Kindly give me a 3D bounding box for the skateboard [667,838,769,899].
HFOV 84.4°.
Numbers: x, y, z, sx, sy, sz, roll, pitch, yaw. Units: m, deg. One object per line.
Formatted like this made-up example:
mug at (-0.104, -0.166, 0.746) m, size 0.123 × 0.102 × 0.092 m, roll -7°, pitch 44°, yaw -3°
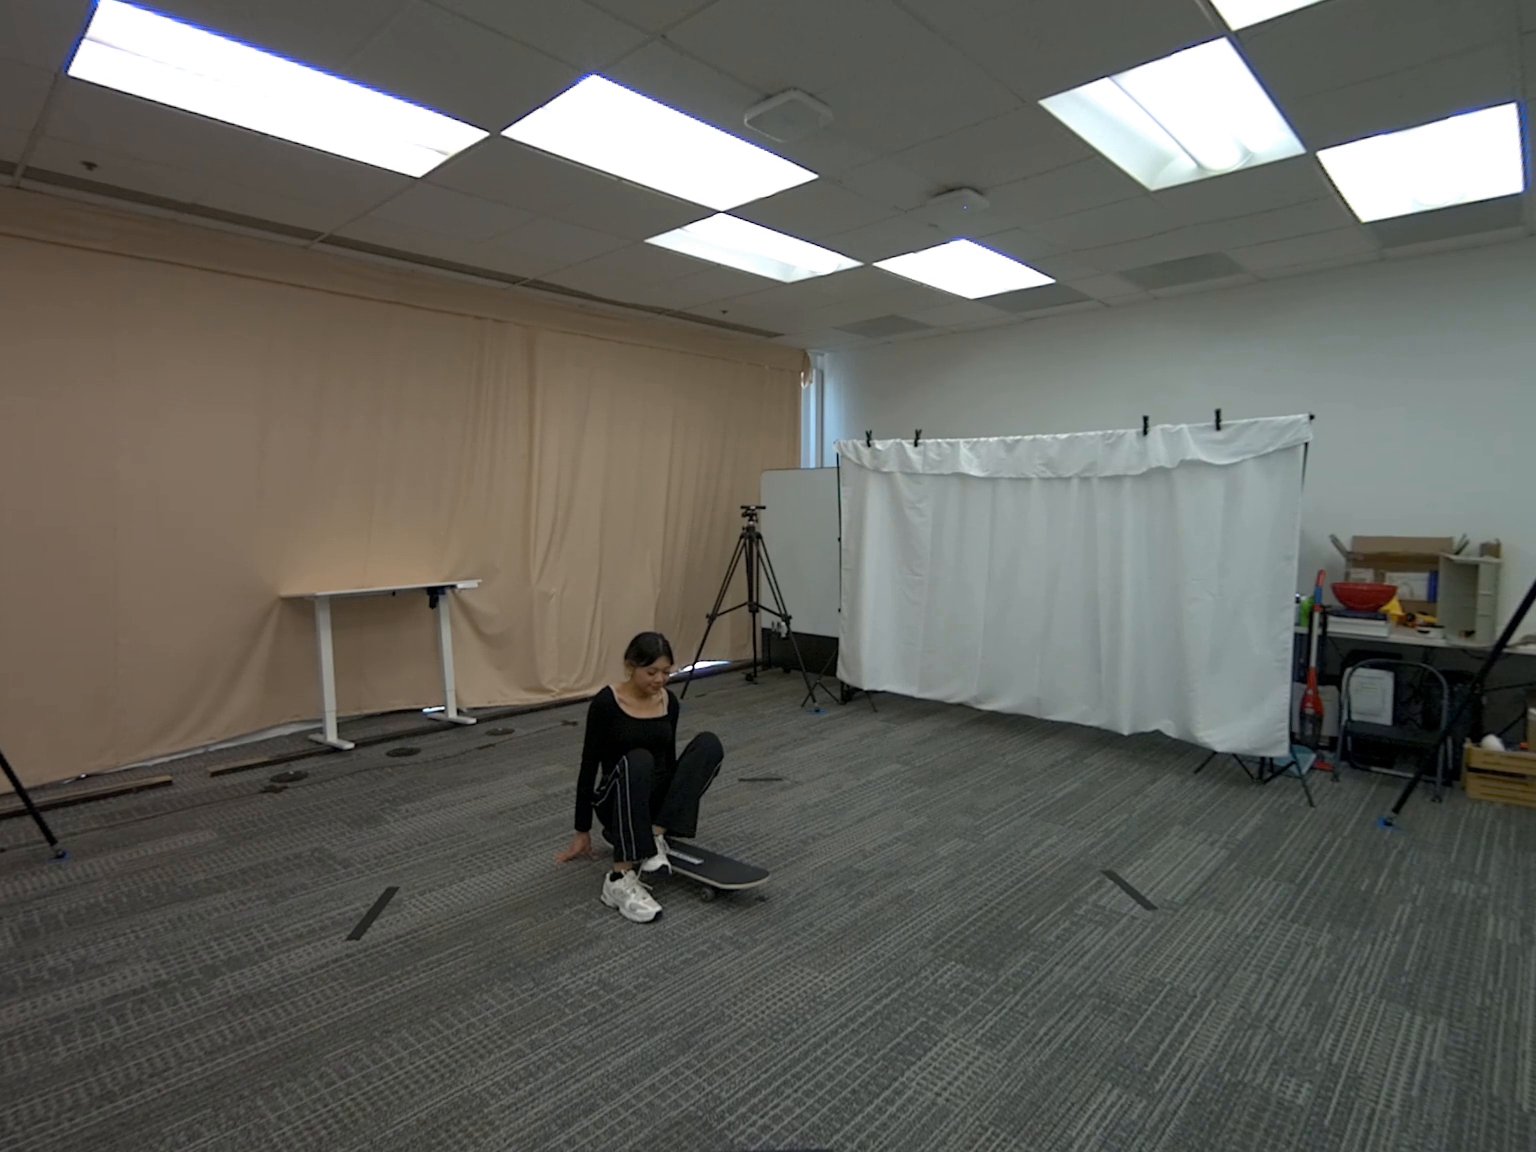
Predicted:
skateboard at (-0.321, 1.078, 3.141) m, size 0.811 × 0.110 × 0.187 m, roll 3°, pitch 4°, yaw 38°
